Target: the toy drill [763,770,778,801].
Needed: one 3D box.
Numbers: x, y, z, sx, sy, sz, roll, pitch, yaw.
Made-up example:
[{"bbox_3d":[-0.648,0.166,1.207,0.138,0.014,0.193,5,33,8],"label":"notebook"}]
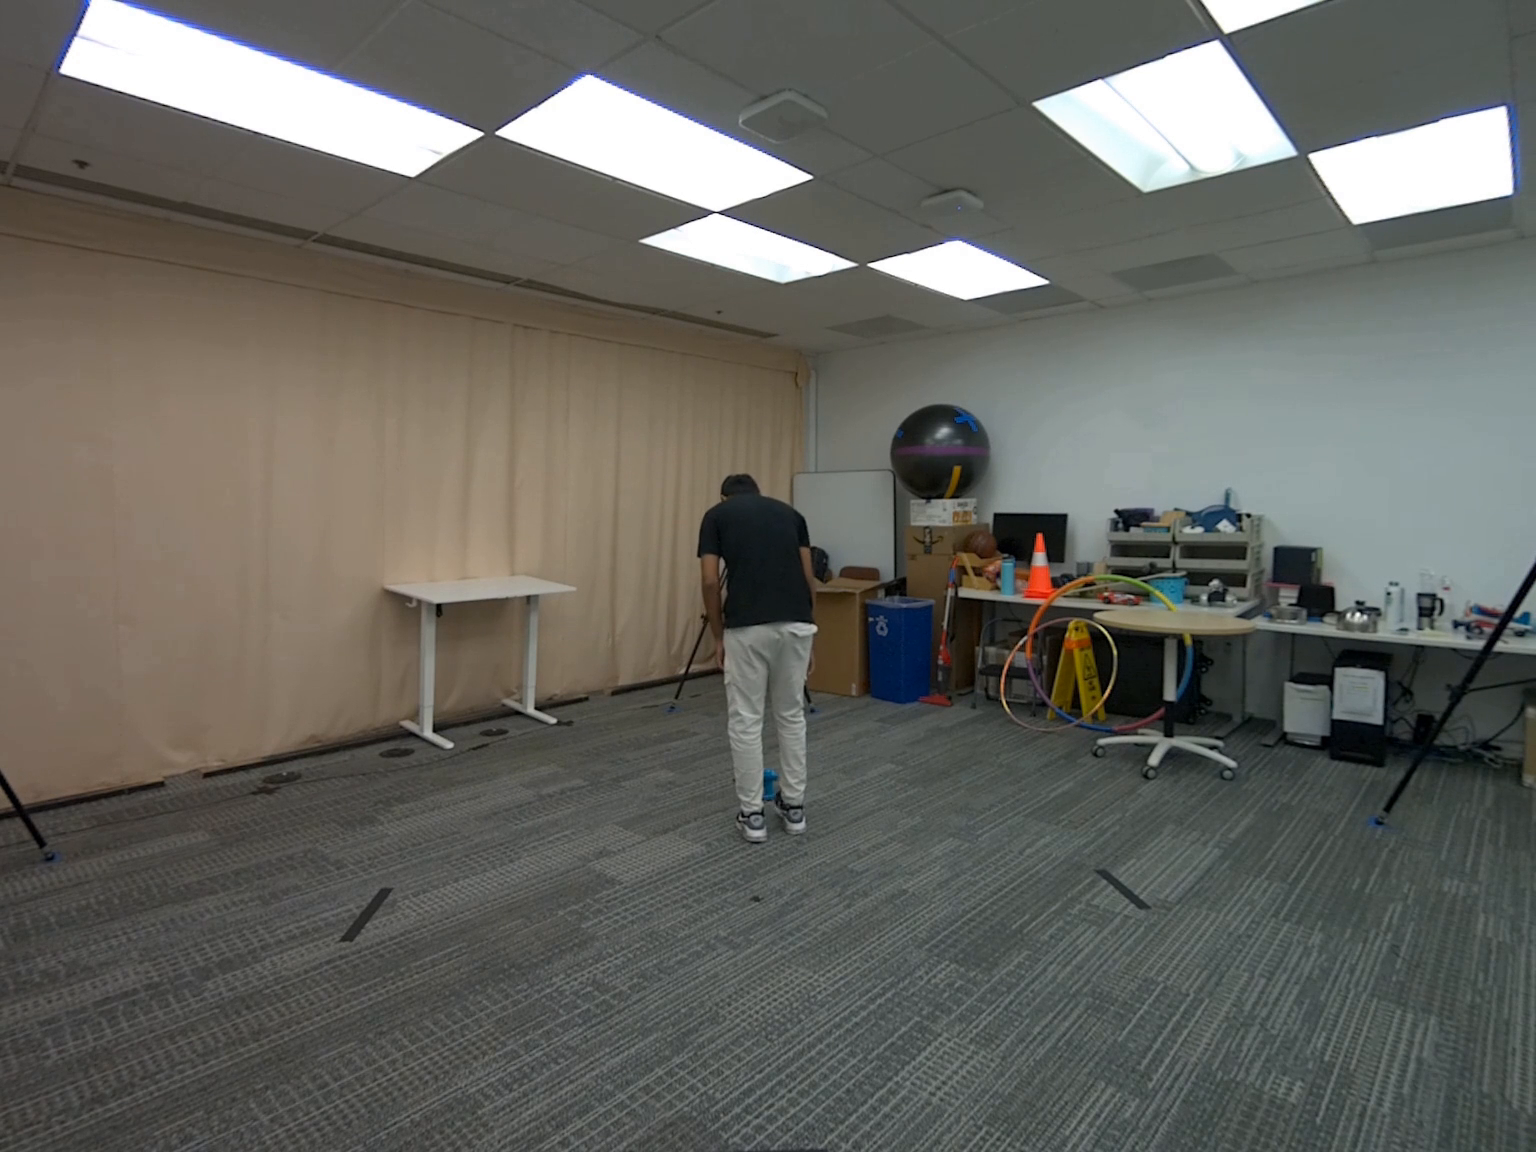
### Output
[{"bbox_3d":[-0.038,0.992,4.025,0.171,0.146,0.060,0,2,9],"label":"toy drill"}]
